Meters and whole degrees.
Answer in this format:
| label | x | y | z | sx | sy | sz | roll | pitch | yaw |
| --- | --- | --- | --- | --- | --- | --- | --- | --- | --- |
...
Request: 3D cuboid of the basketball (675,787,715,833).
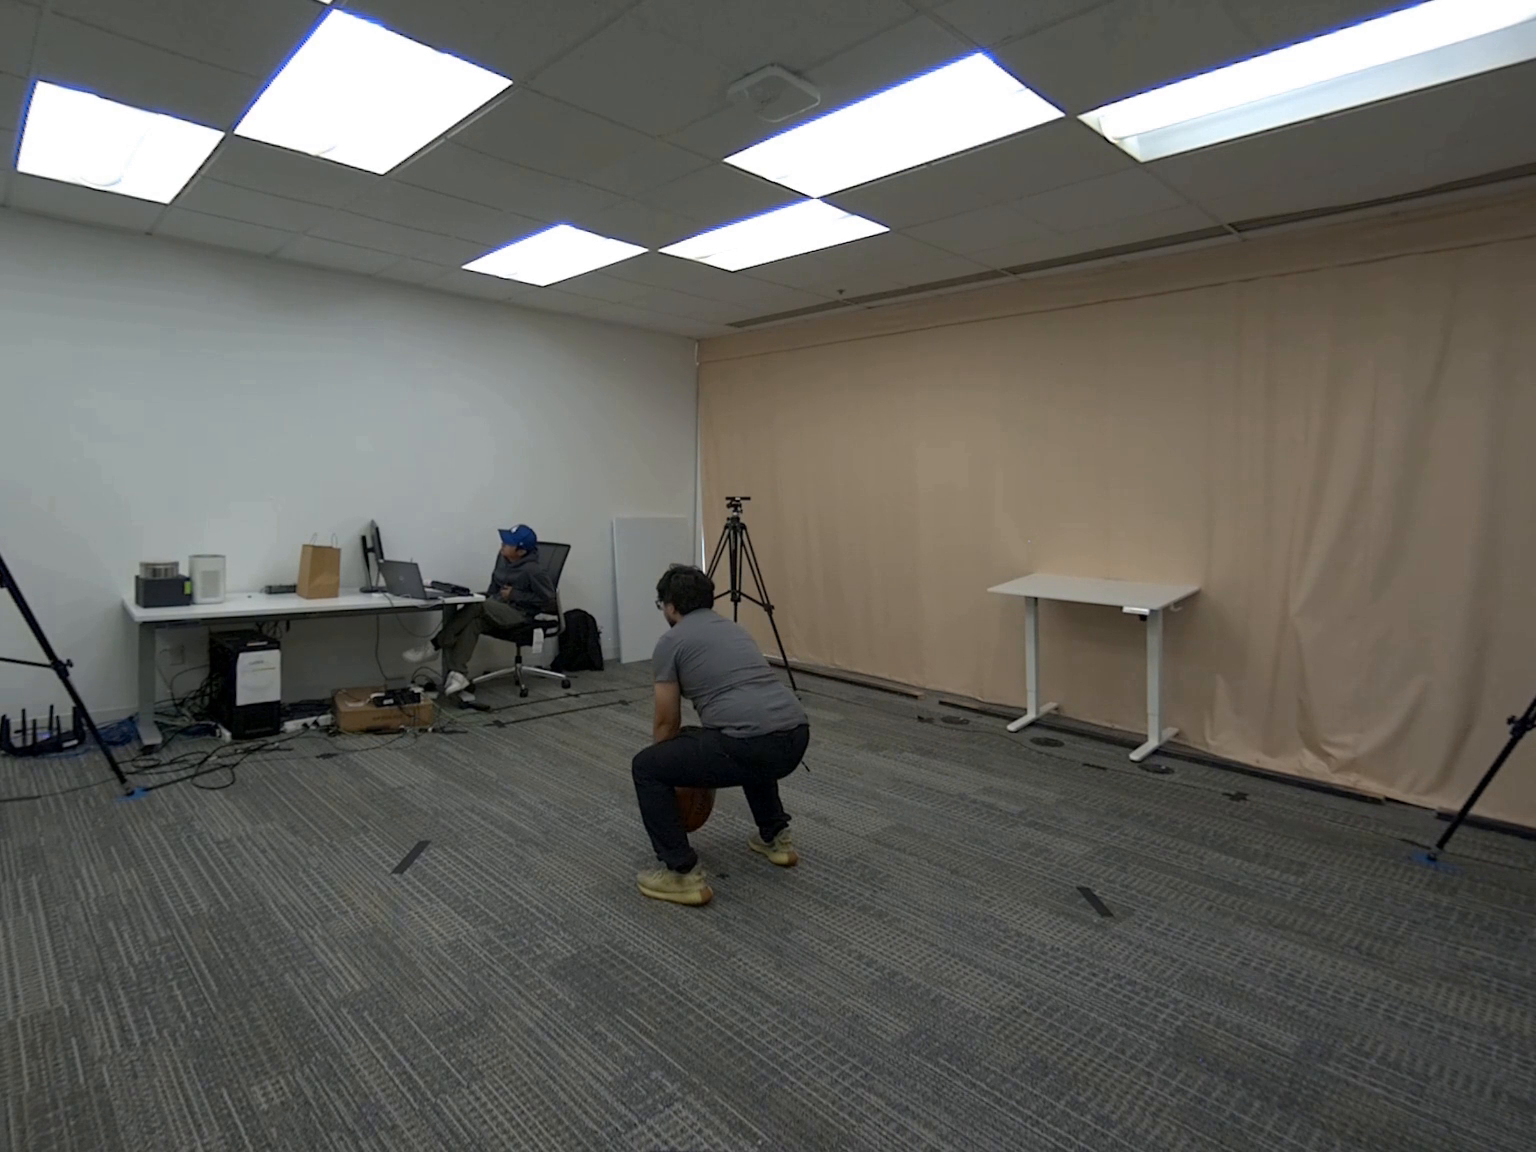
| label | x | y | z | sx | sy | sz | roll | pitch | yaw |
| --- | --- | --- | --- | --- | --- | --- | --- | --- | --- |
| basketball | -0.343 | 0.879 | 3.300 | 0.236 | 0.235 | 0.237 | 1 | 4 | -1 |
